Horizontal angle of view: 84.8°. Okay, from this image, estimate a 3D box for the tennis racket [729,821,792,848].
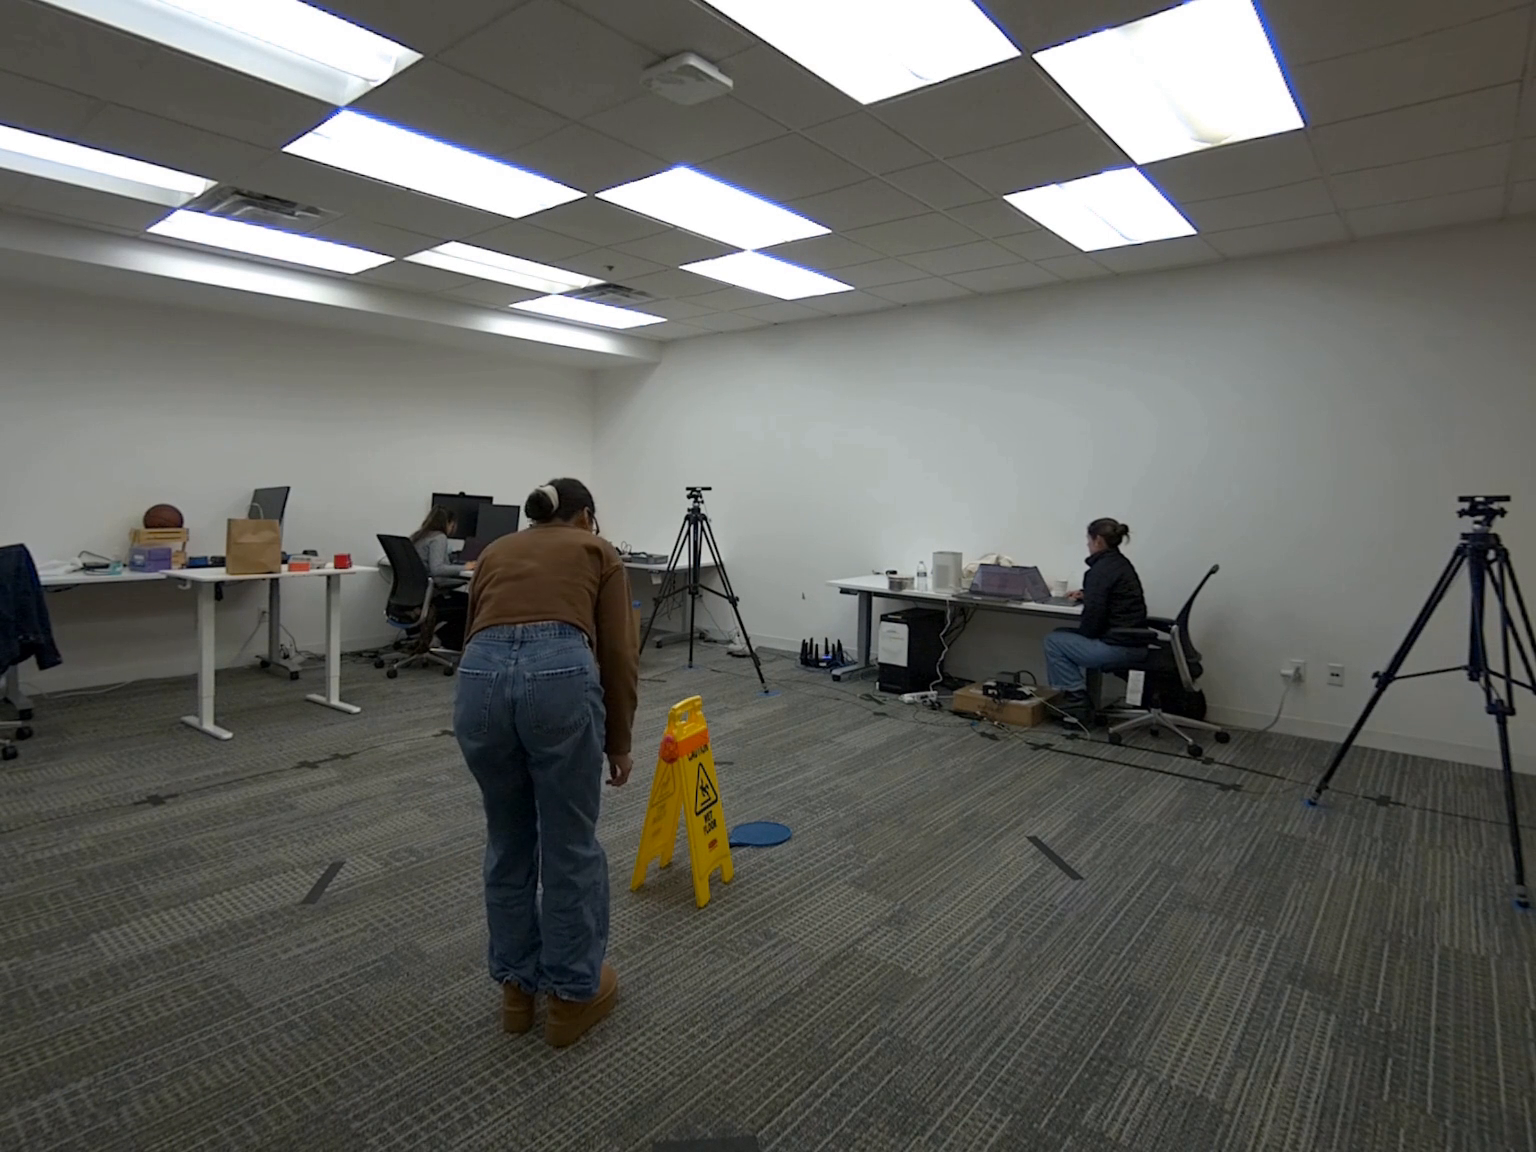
[{"bbox_3d":[-0.095,1.029,3.354,0.419,0.031,0.221,-2,7,-44],"label":"tennis racket"}]
